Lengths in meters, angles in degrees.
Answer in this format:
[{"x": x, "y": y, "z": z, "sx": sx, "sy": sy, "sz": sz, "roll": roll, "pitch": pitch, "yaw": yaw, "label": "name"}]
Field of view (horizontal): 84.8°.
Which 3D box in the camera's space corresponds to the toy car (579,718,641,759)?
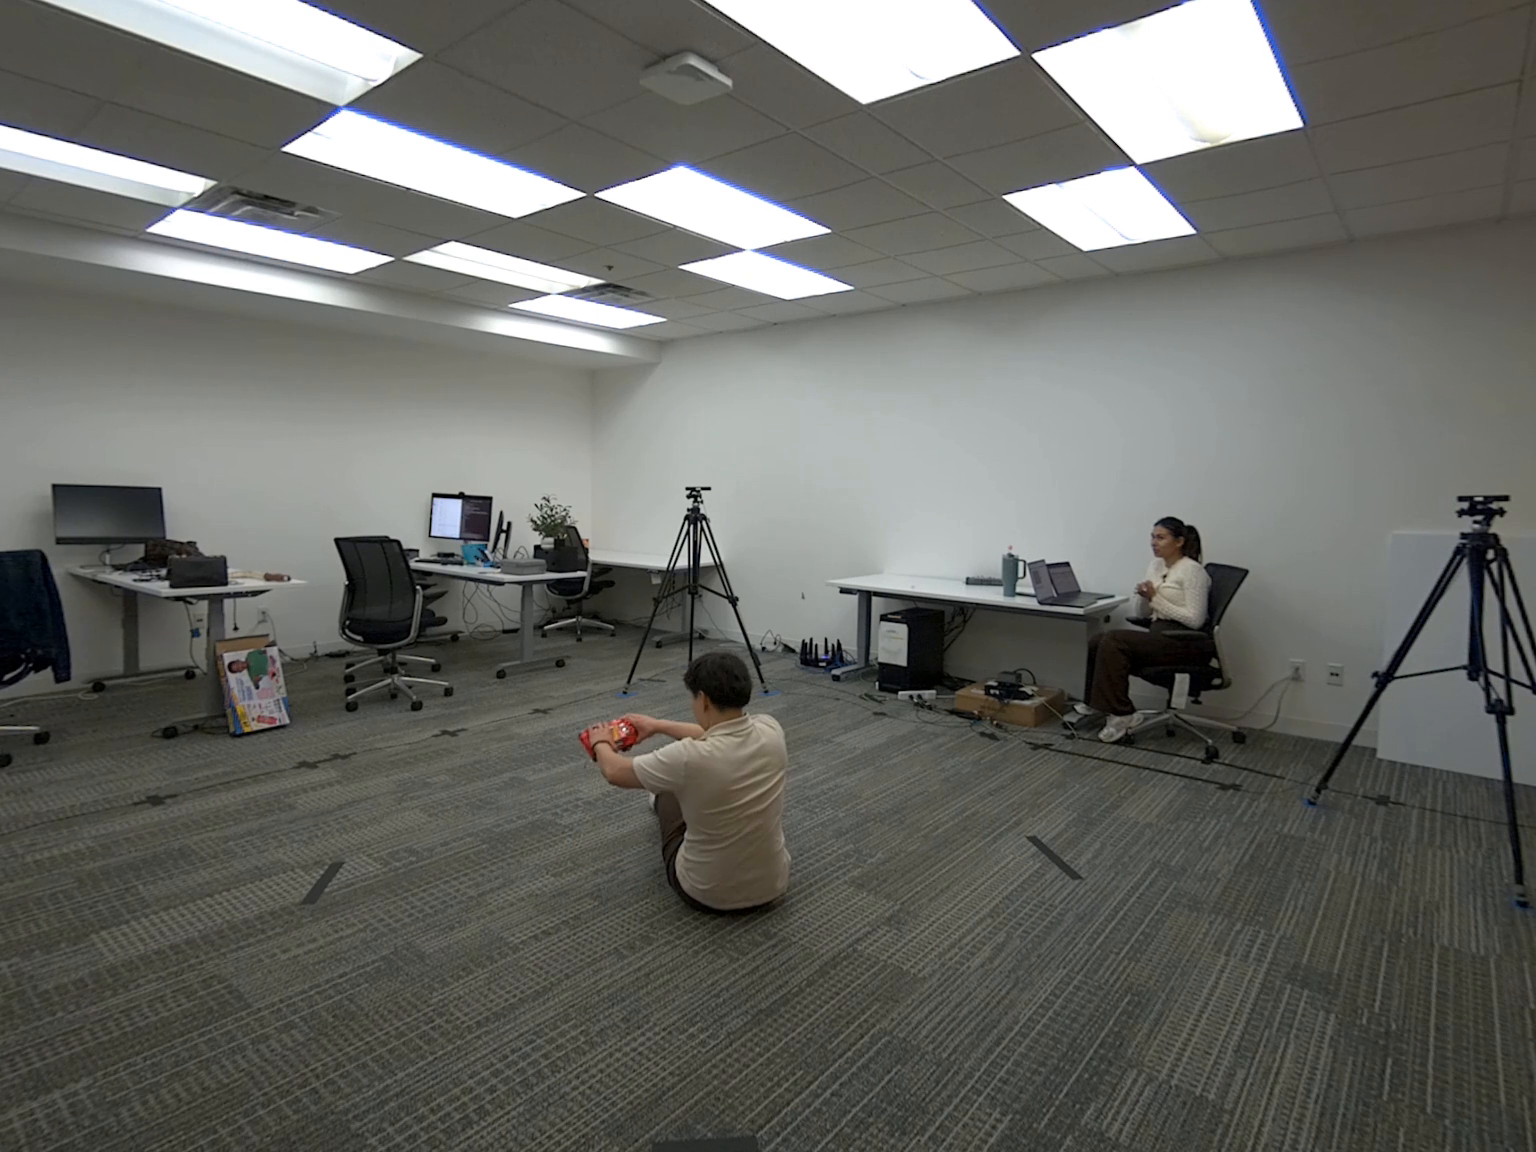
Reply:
[{"x": -0.568, "y": 0.597, "z": 3.077, "sx": 0.248, "sy": 0.082, "sz": 0.135, "roll": -15, "pitch": 54, "yaw": -41, "label": "toy car"}]
